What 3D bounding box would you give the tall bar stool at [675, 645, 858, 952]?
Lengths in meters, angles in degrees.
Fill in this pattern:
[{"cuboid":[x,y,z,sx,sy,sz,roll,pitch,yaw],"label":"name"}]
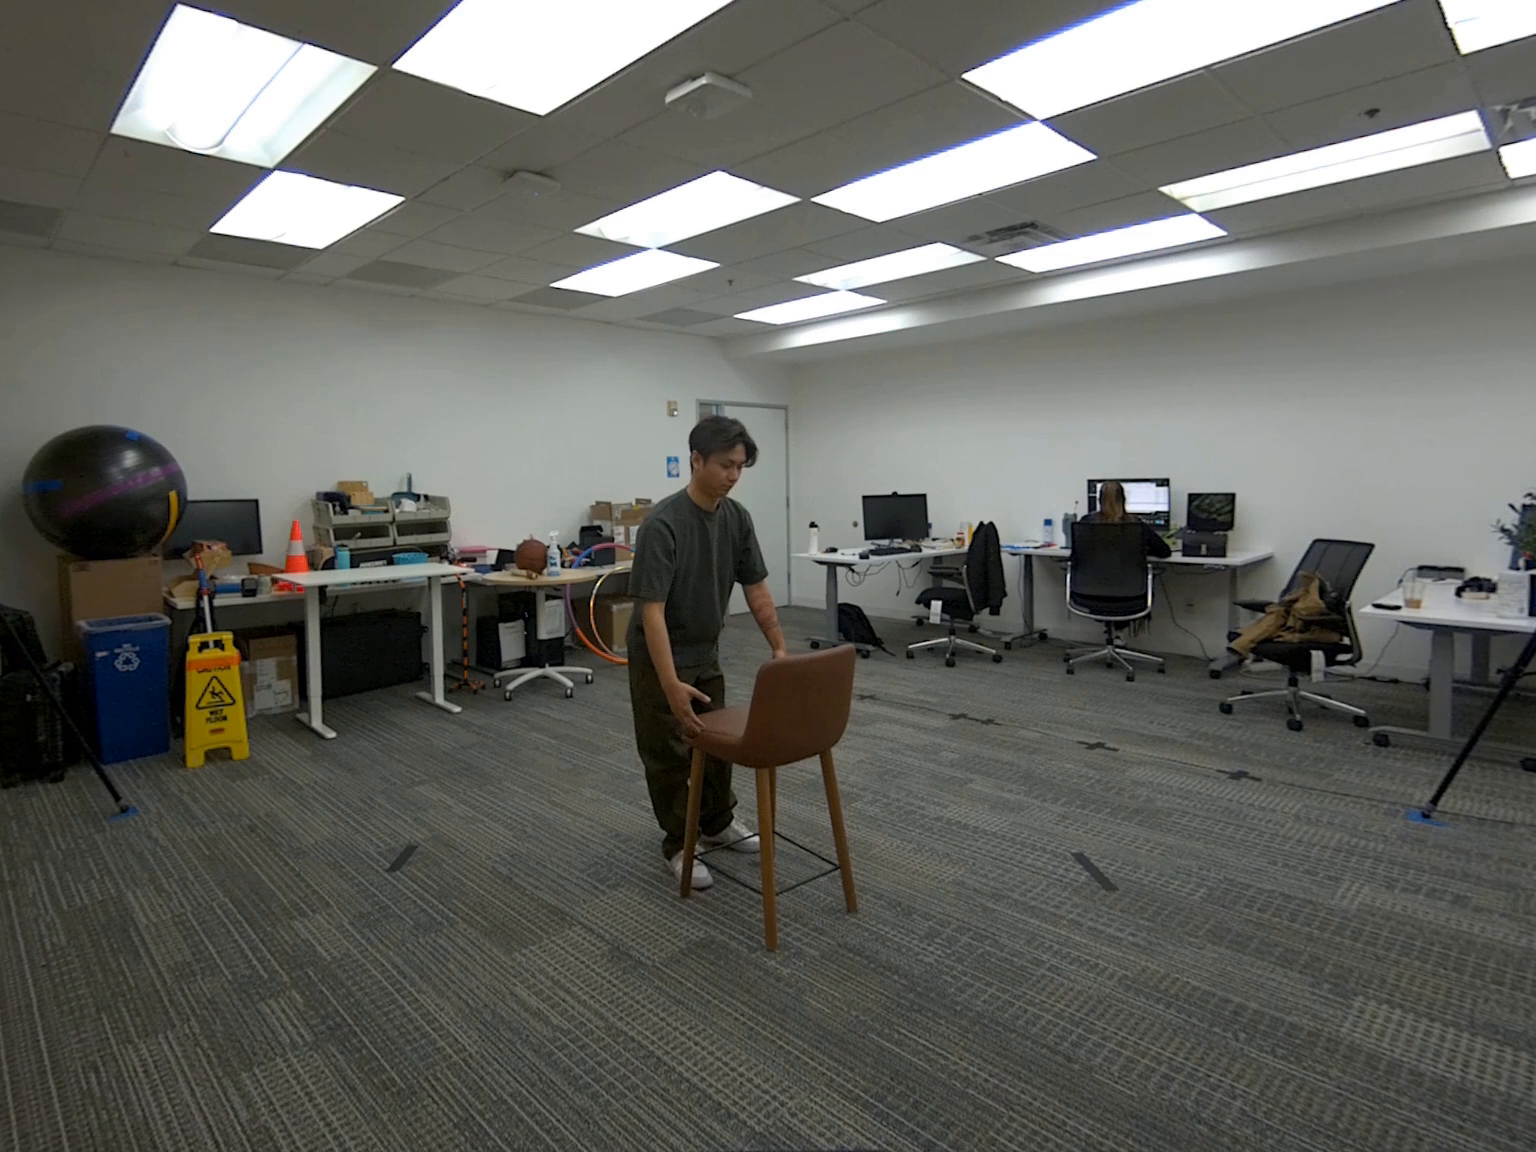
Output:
[{"cuboid":[0.002,0.641,2.783,0.444,0.886,0.482,-4,7,-39],"label":"tall bar stool"}]
